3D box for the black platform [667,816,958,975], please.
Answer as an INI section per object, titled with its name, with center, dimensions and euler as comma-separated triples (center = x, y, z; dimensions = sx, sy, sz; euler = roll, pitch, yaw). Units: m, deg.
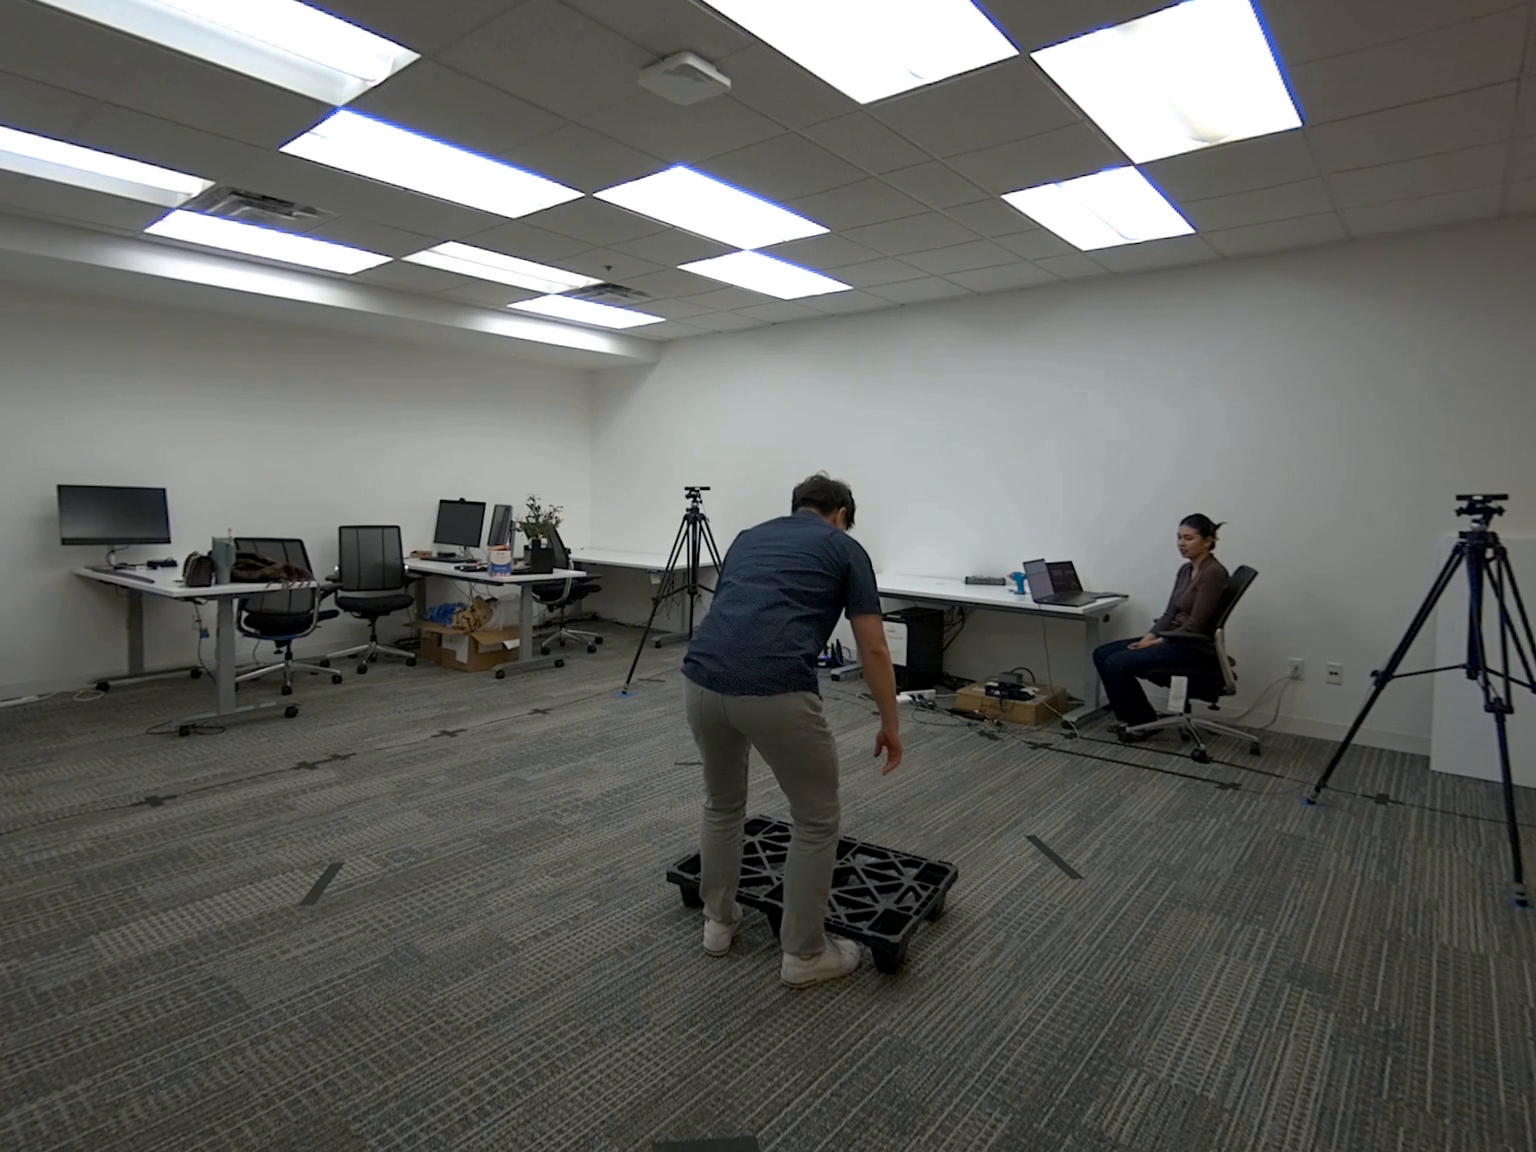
[black platform]
center = 0.147, 1.032, 2.825
dimensions = 0.830, 0.143, 0.590
euler = 4, 7, 30
